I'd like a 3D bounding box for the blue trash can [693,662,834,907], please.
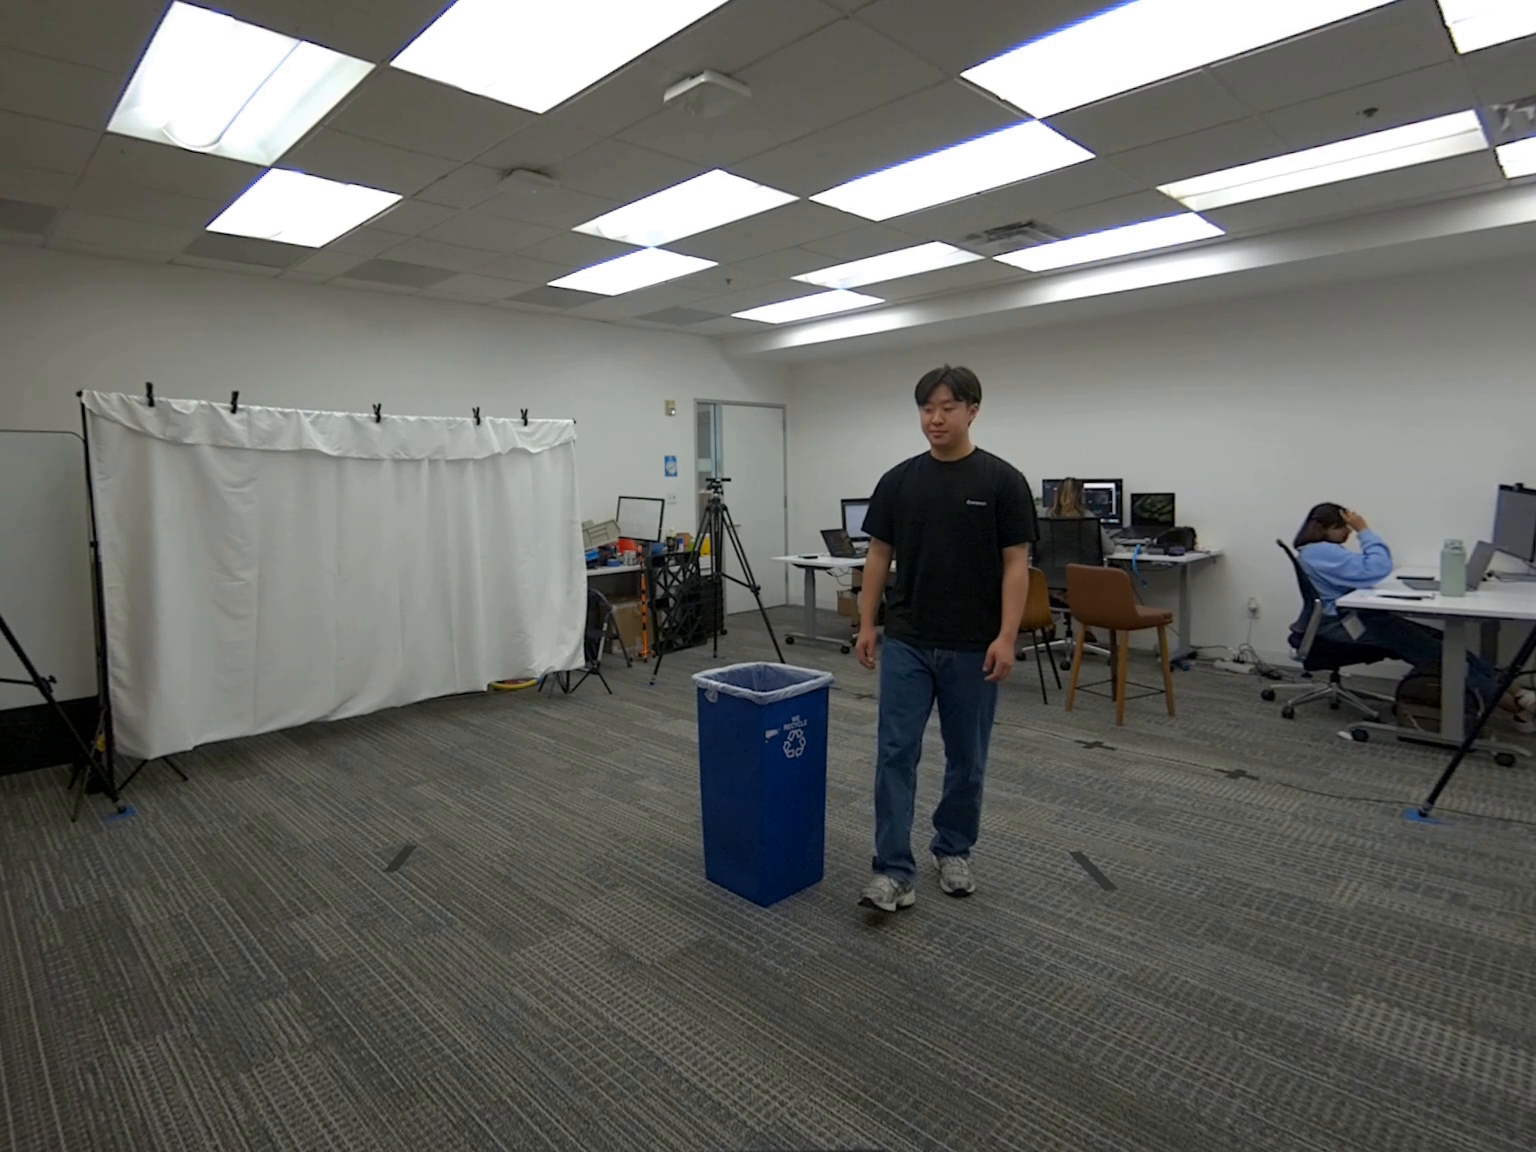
[{"bbox_3d":[-0.010,0.696,2.970,0.364,0.711,0.390,-5,6,-44],"label":"blue trash can"}]
